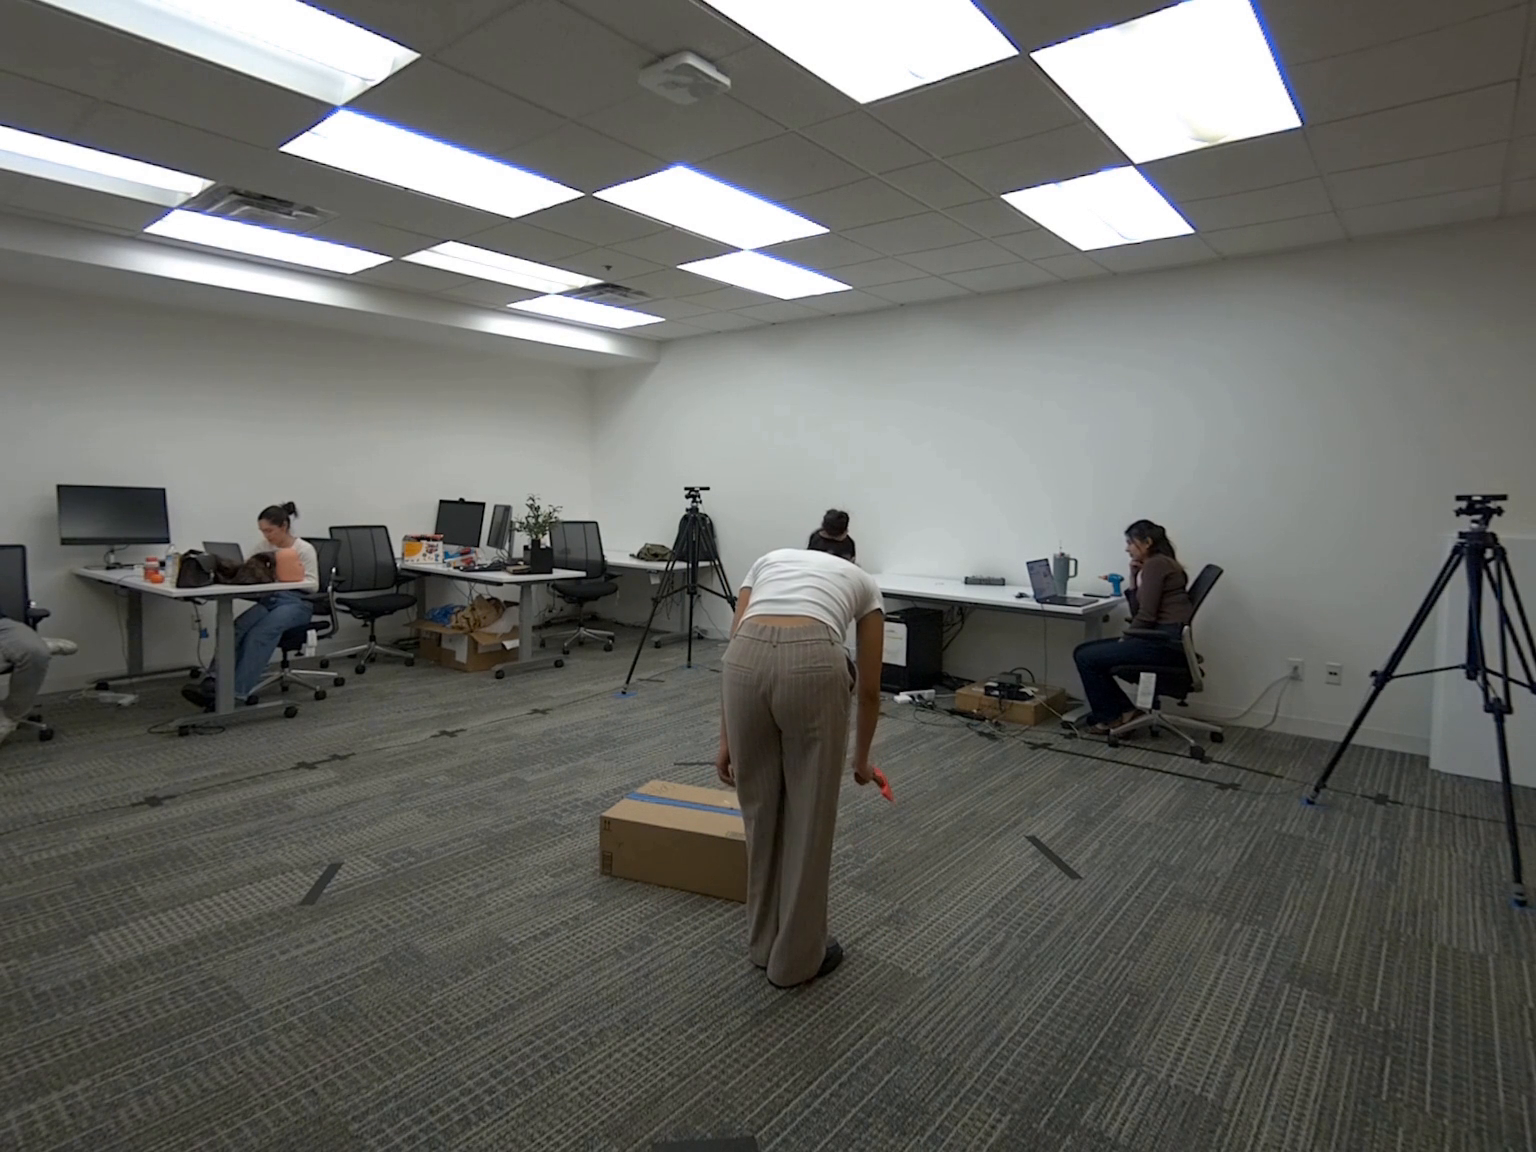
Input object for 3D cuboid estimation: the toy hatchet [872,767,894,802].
[{"bbox_3d":[0.341,0.677,2.731,0.030,0.135,0.261,-37,-21,14],"label":"toy hatchet"}]
